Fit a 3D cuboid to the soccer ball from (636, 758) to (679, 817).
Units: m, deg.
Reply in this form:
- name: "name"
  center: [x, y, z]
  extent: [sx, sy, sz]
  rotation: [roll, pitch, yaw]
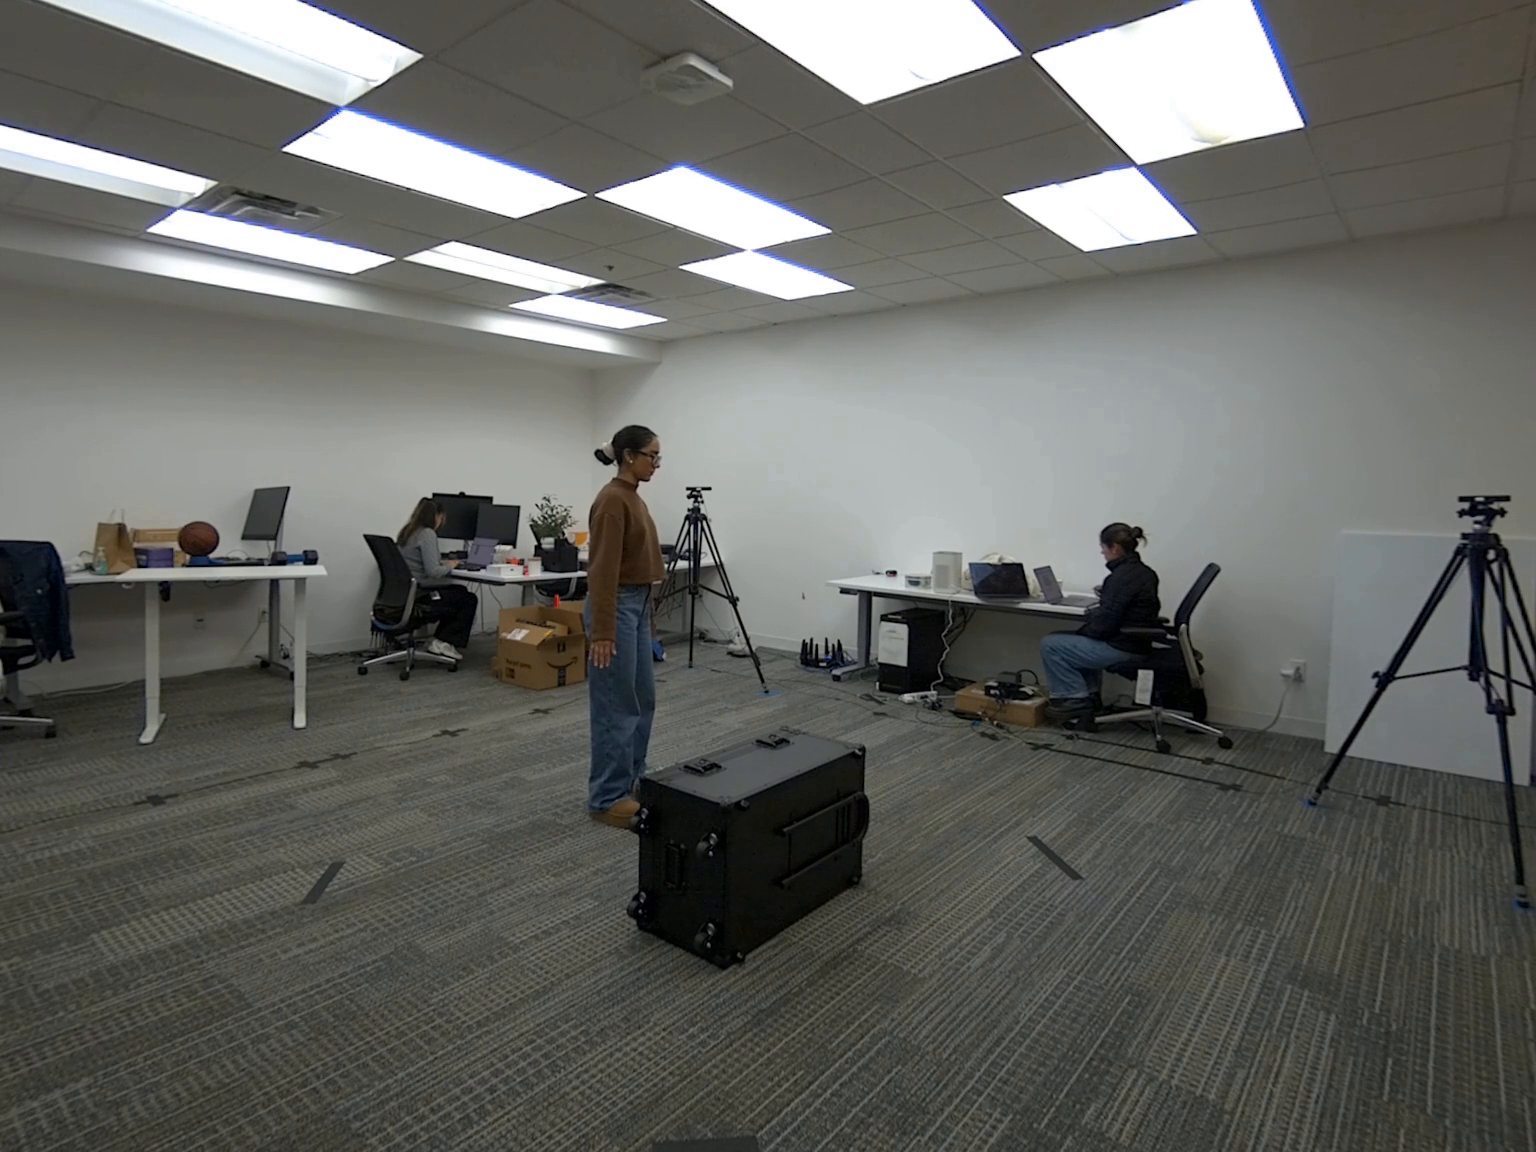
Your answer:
- name: "soccer ball"
  center: [-0.488, 0.912, 3.651]
  extent: [0.187, 0.187, 0.188]
  rotation: [1, 4, -2]
